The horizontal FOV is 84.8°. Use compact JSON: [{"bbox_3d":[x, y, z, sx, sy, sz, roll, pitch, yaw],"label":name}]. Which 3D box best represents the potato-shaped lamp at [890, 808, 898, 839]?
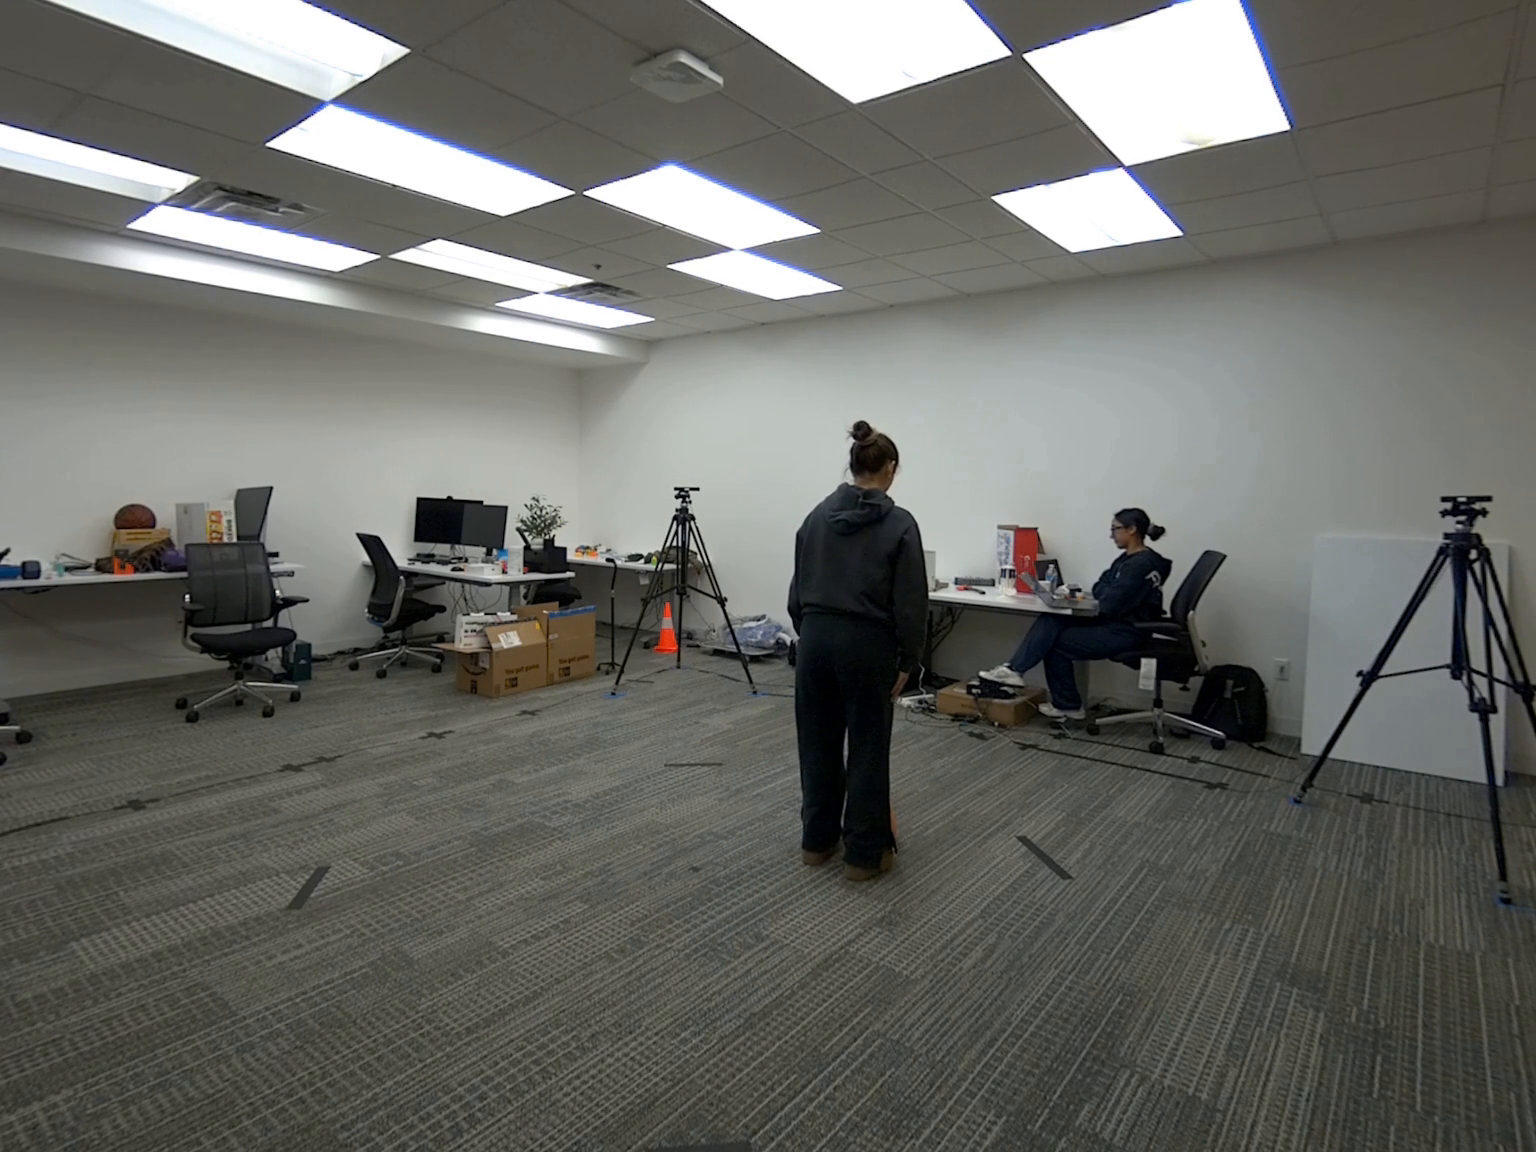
[{"bbox_3d":[0.433,0.944,3.385,0.170,0.197,0.166,3,6,37],"label":"potato-shaped lamp"}]
